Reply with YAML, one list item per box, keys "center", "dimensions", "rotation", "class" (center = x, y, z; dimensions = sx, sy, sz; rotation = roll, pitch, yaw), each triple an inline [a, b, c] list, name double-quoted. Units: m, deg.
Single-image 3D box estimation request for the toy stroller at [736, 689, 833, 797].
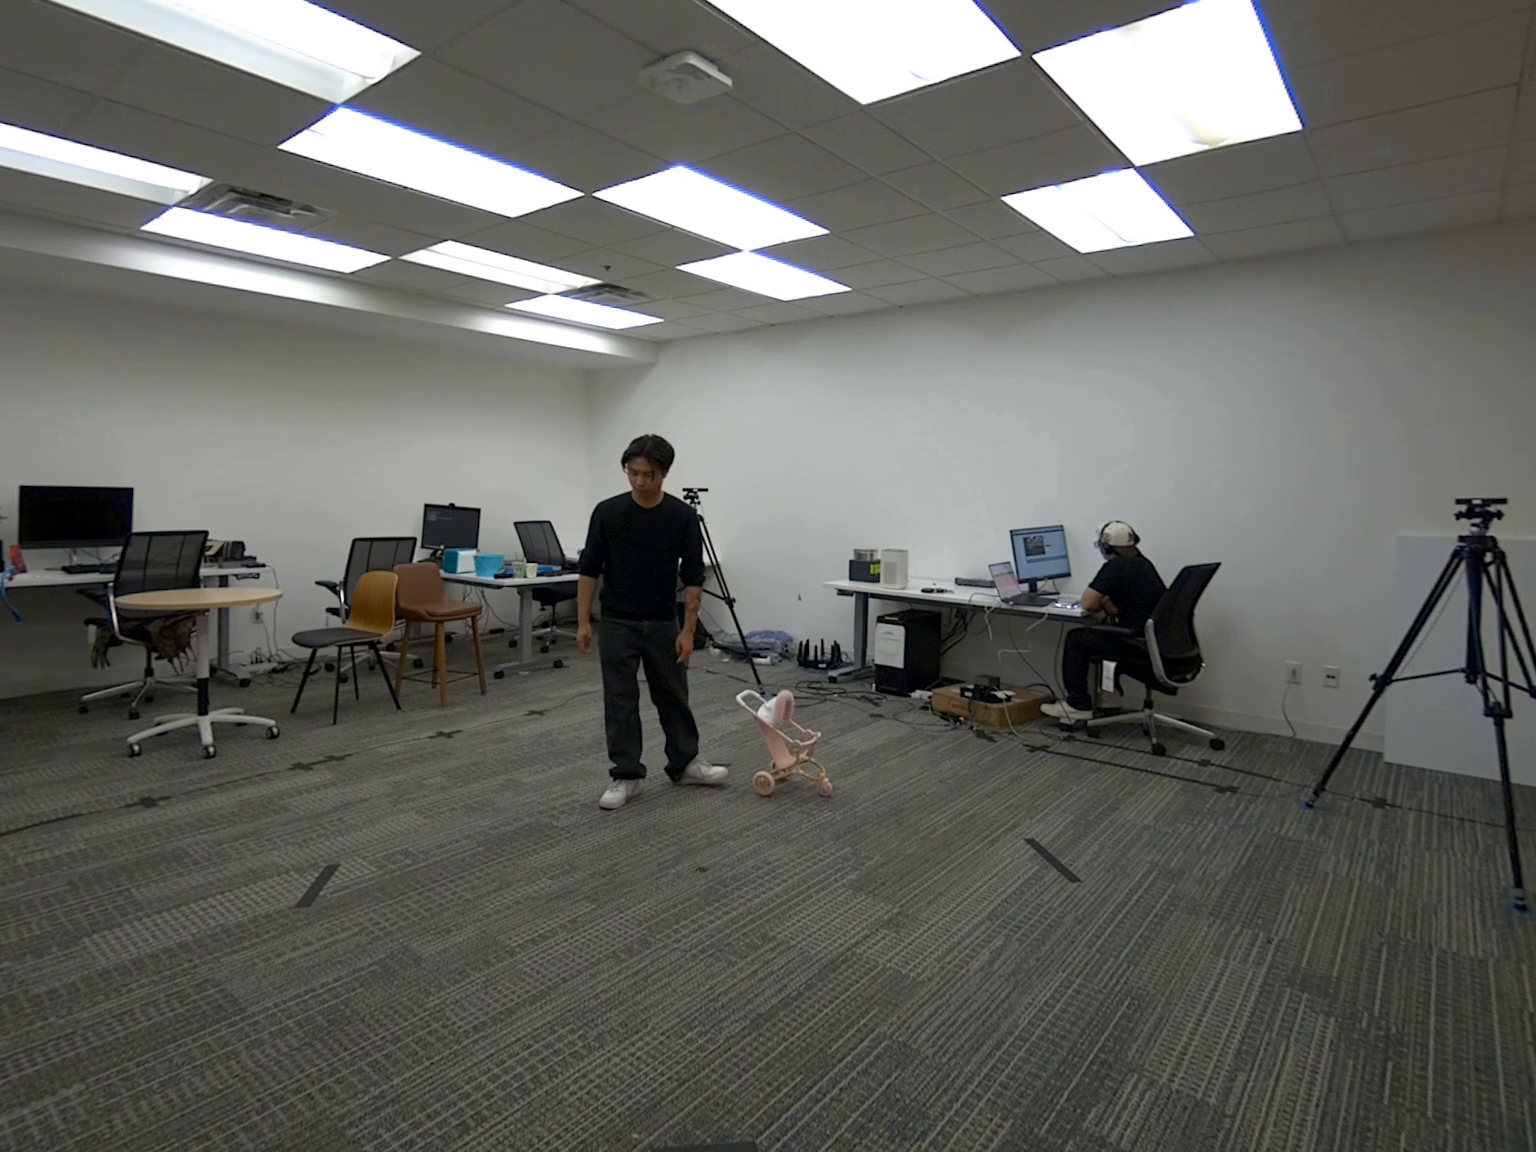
- center: [0.078, 0.771, 3.960]
  dimensions: [0.347, 0.538, 0.275]
  rotation: [-15, -5, 26]
  class: "toy stroller"
